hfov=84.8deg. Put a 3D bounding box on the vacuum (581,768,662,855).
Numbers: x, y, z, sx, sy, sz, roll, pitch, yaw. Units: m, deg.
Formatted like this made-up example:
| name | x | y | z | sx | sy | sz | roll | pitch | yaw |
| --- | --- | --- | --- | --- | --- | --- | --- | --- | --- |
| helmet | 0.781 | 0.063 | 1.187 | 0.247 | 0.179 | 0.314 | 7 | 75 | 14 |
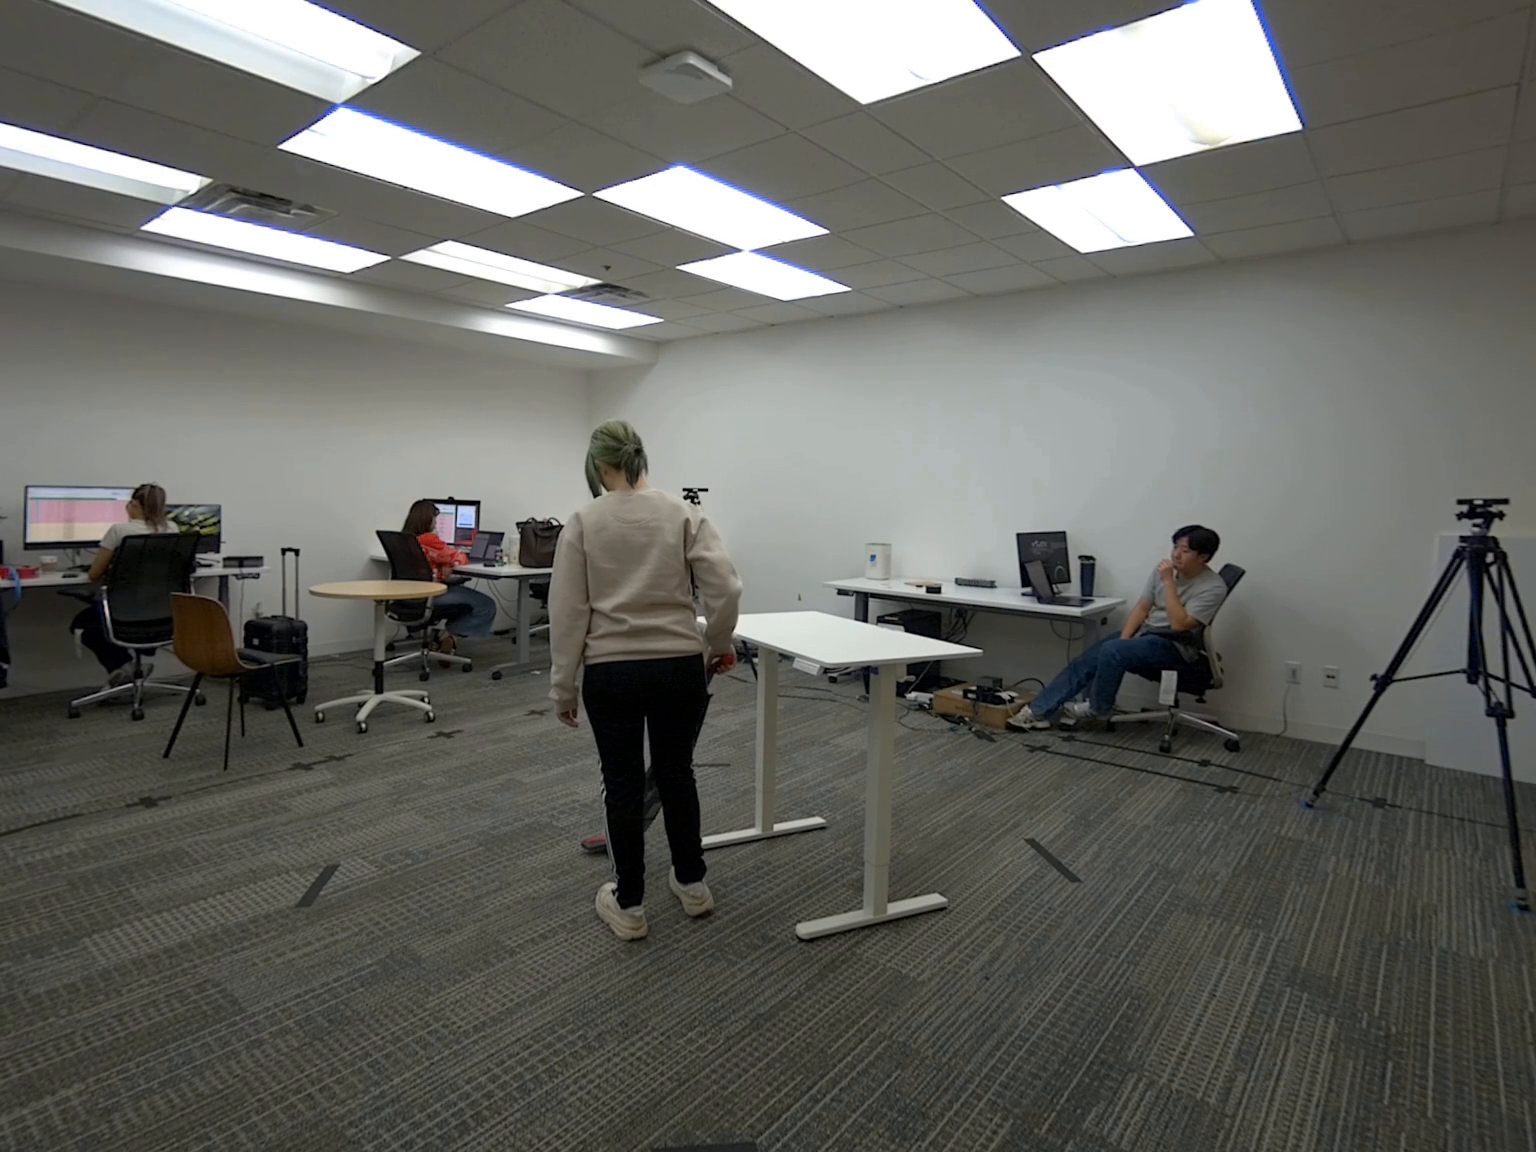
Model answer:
| name | x | y | z | sx | sy | sz | roll | pitch | yaw |
| --- | --- | --- | --- | --- | --- | --- | --- | --- | --- |
| vacuum | -0.374 | 0.660 | 2.995 | 0.245 | 1.040 | 0.149 | -7 | 49 | -44 |
